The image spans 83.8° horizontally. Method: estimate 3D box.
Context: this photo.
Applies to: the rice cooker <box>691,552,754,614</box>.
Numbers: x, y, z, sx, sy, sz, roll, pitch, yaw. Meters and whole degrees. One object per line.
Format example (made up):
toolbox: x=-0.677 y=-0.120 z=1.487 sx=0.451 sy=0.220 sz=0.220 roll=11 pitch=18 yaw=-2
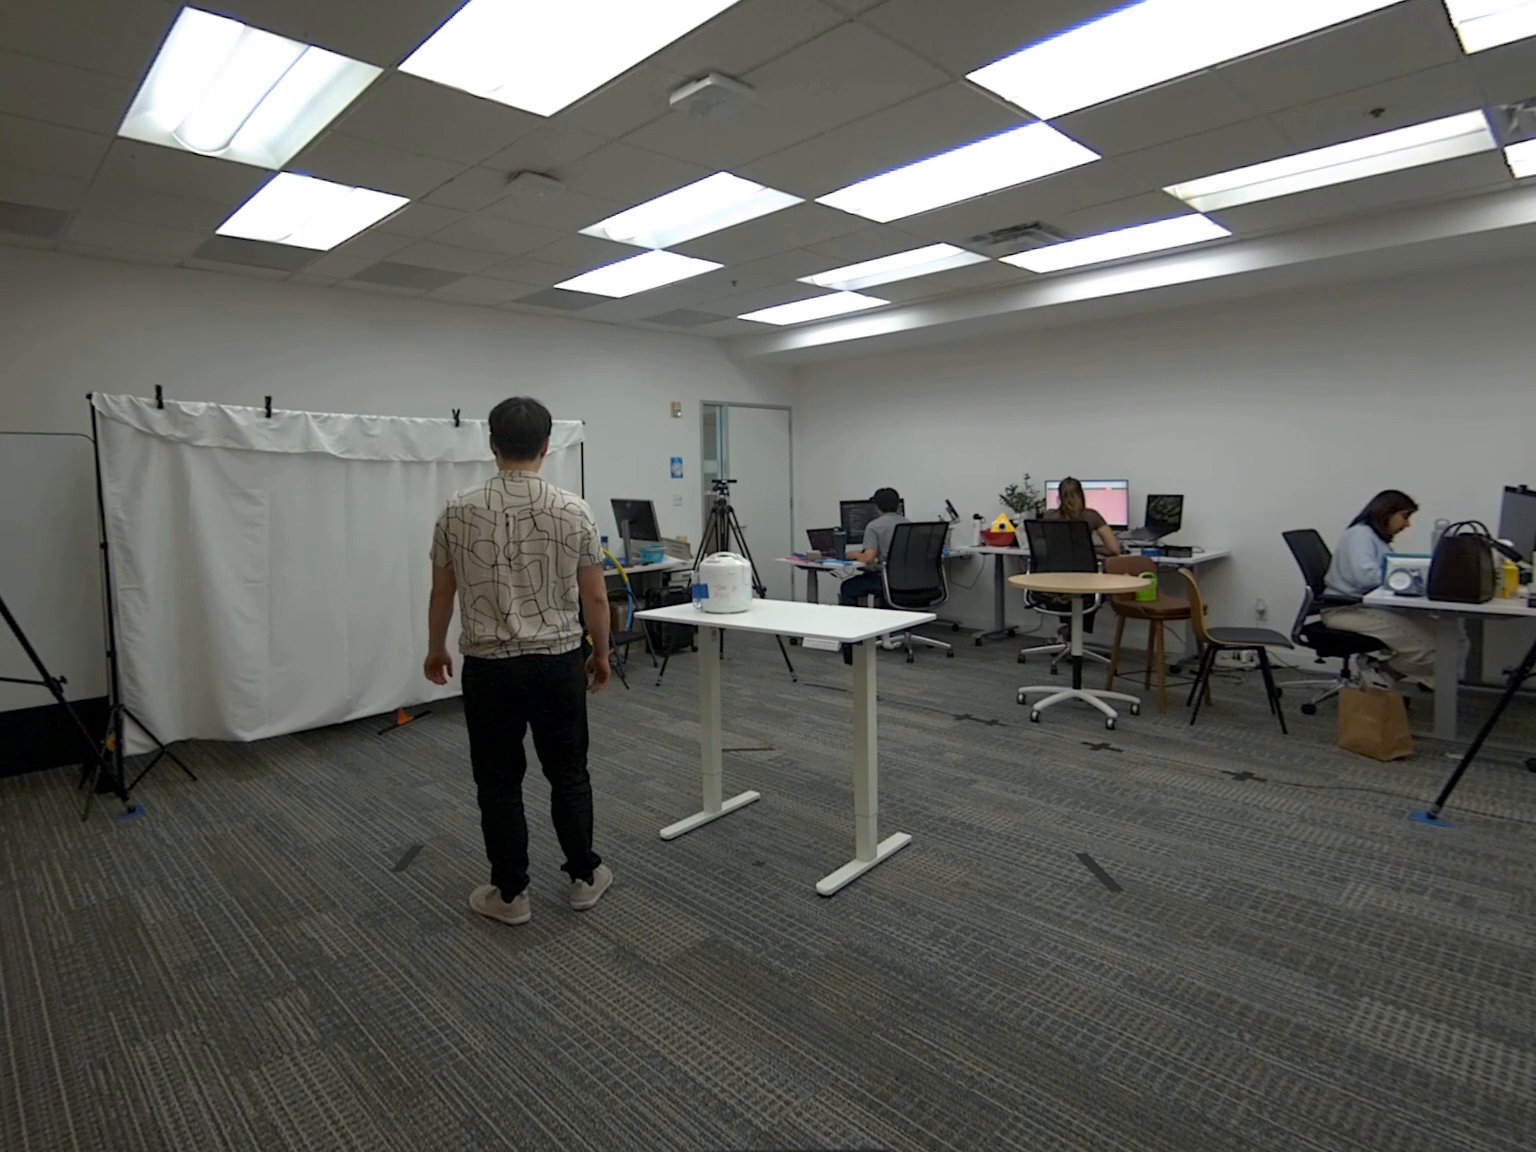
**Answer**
rice cooker: x=-0.169 y=0.021 z=3.369 sx=0.227 sy=0.232 sz=0.212 roll=2 pitch=7 yaw=35
